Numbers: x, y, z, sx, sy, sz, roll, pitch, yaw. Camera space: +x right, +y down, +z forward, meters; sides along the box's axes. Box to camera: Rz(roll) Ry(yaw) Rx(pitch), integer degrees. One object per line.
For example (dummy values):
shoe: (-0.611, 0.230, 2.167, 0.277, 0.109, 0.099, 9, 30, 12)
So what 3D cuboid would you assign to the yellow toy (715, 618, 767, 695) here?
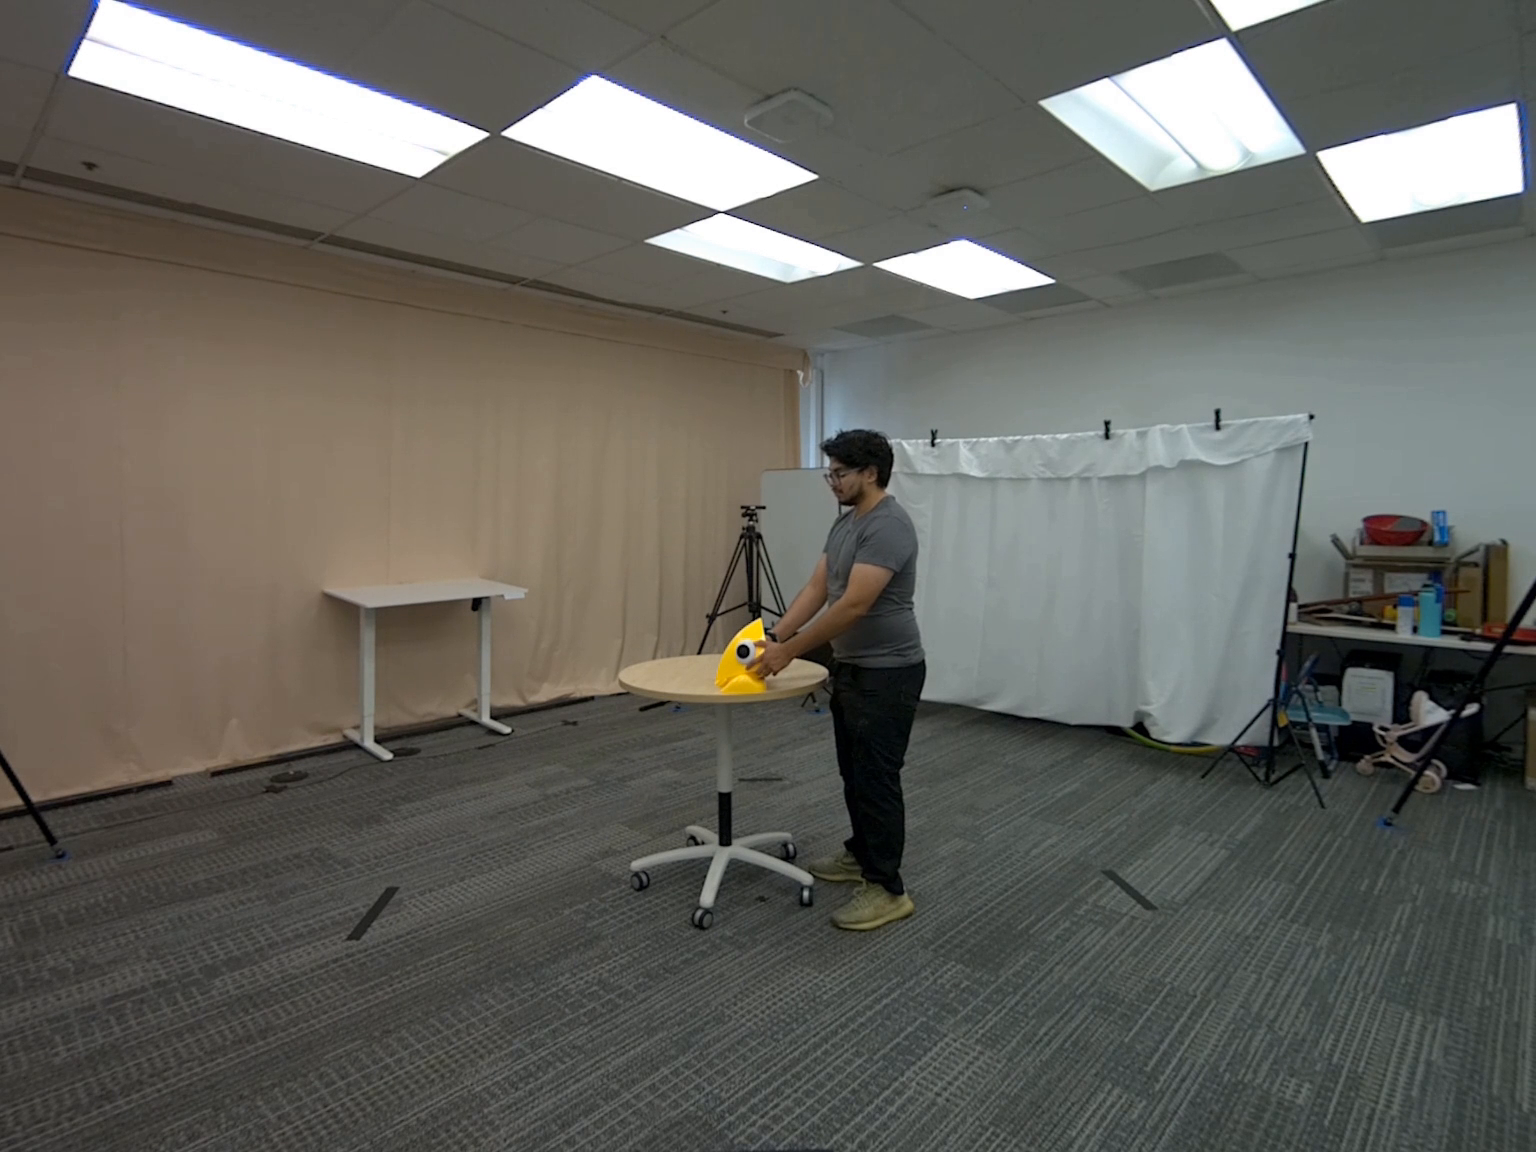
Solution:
yellow toy: (-0.077, 0.260, 2.814, 0.191, 0.230, 0.207, -2, 2, -11)
